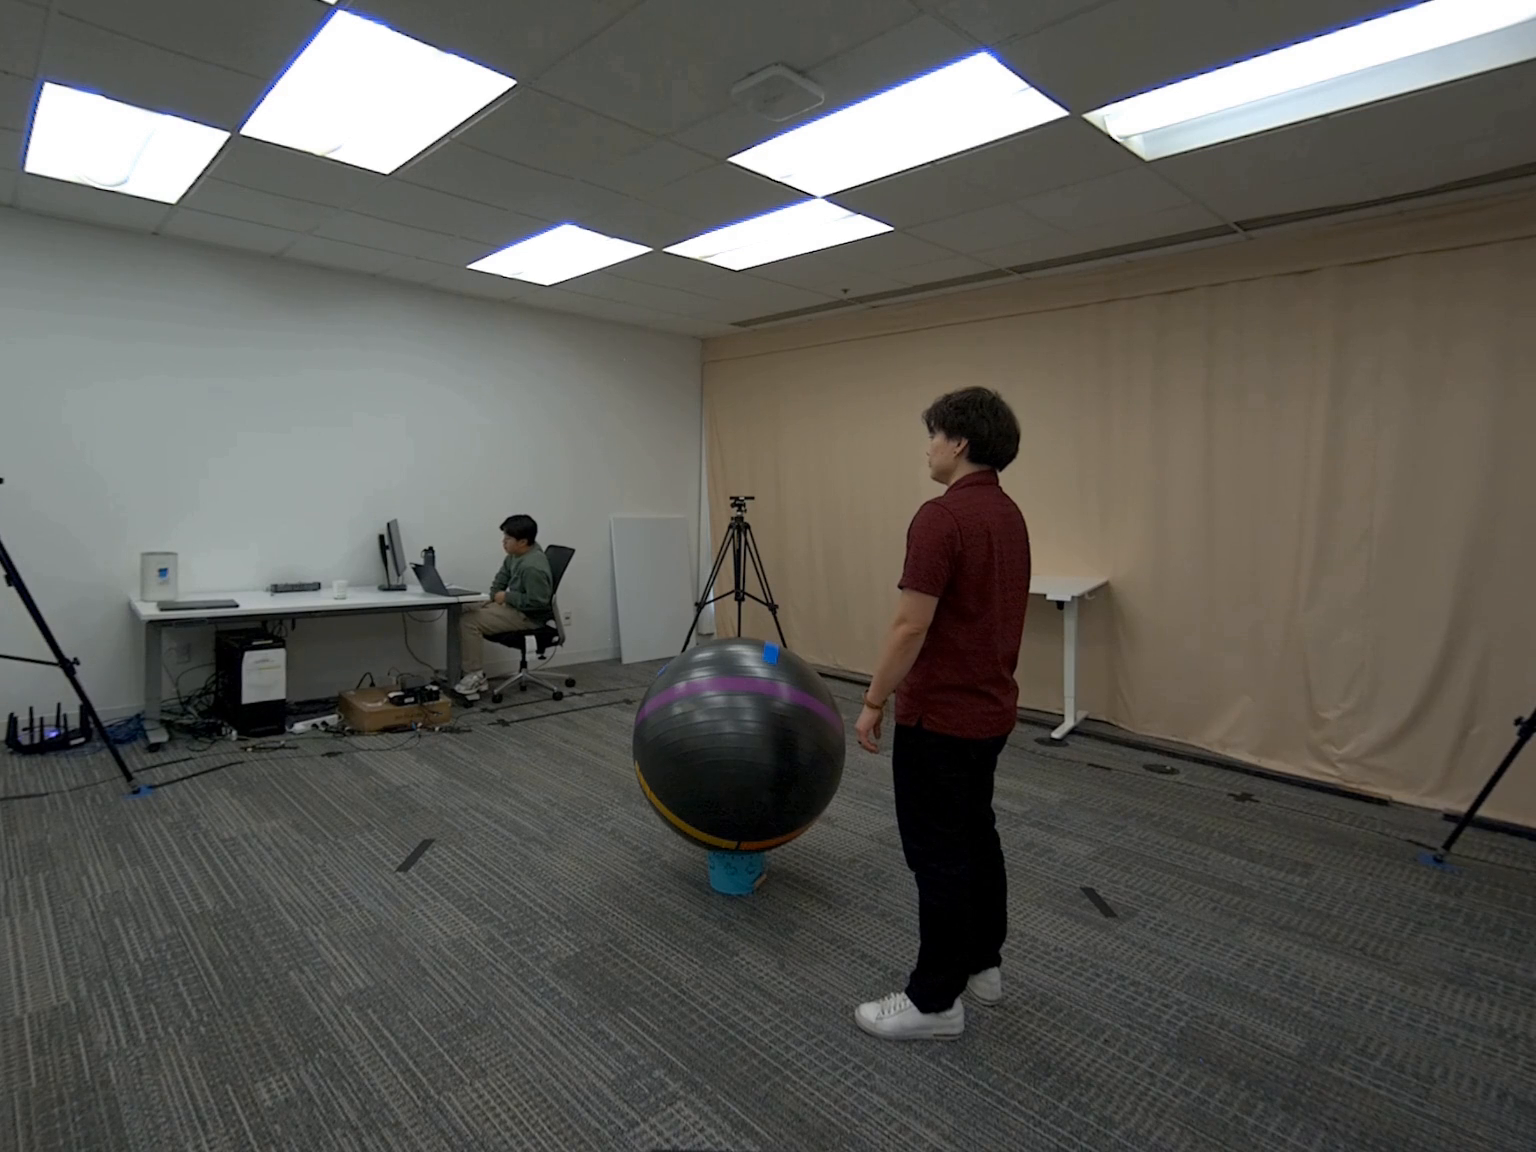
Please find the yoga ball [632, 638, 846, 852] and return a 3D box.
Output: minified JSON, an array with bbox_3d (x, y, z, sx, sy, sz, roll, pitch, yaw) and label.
[{"bbox_3d":[-0.105,0.598,3.025,0.757,0.756,0.761,1,4,-1],"label":"yoga ball"}]
